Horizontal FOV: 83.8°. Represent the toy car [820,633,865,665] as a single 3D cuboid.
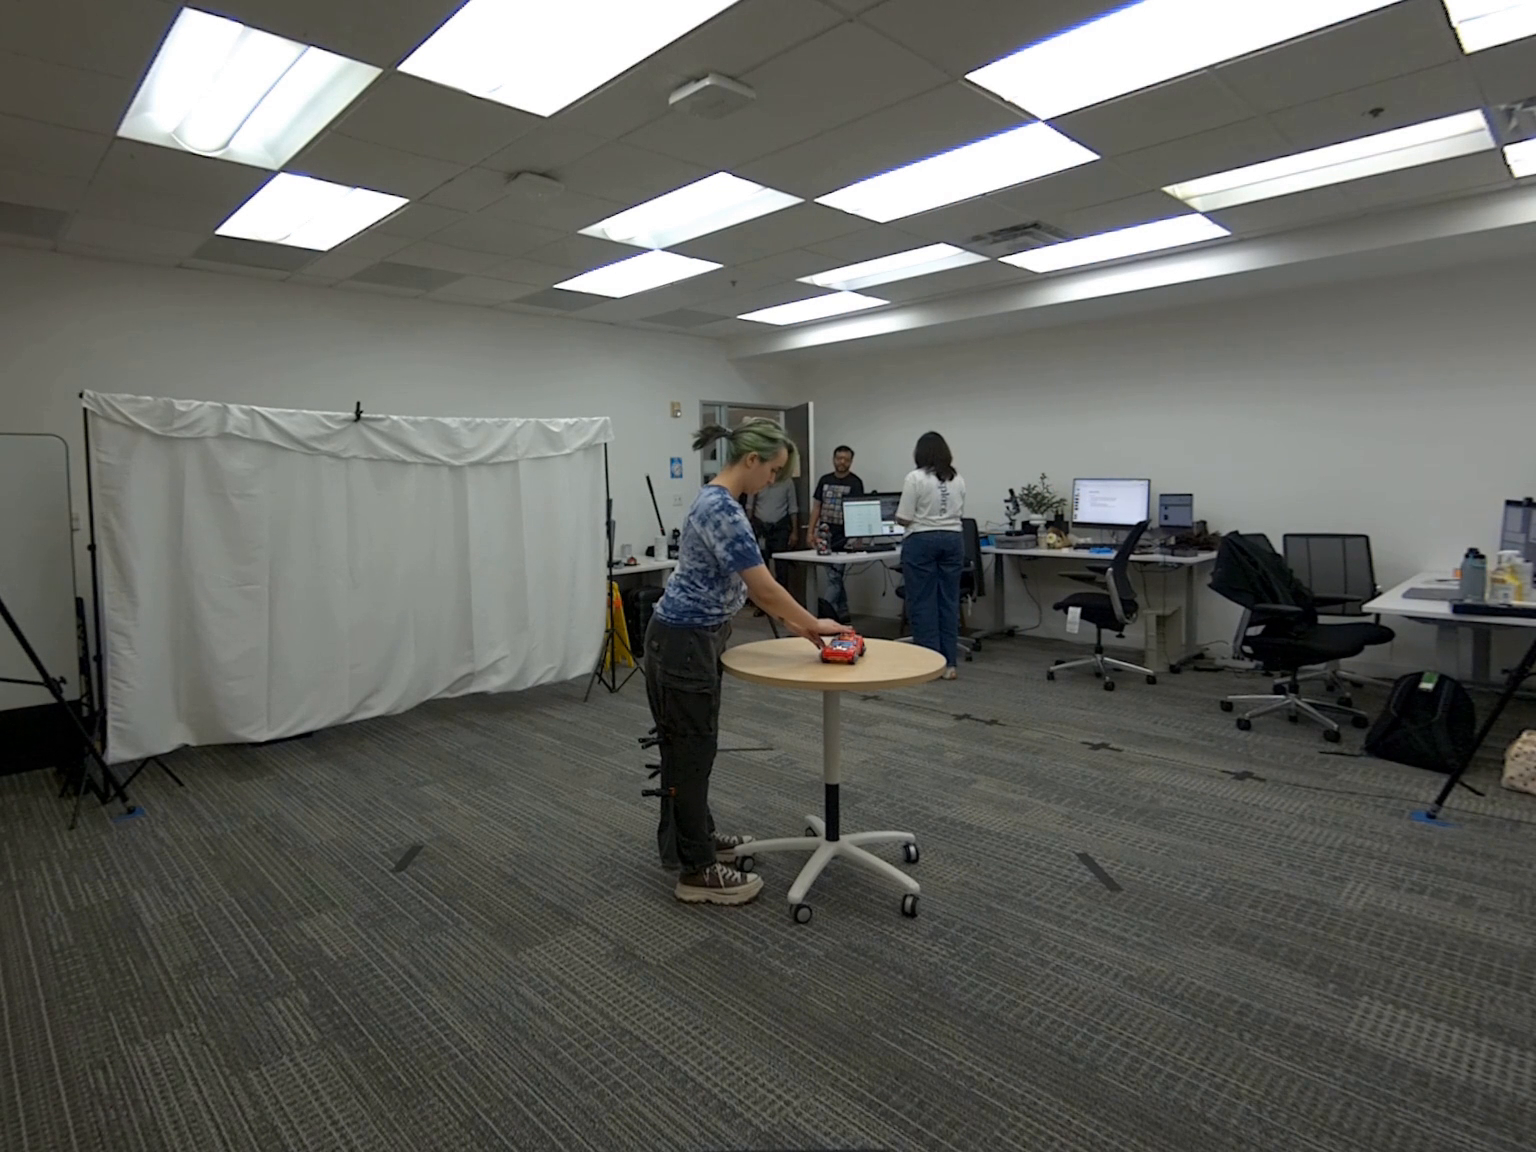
[{"bbox_3d":[0.261,0.248,2.914,0.133,0.082,0.254,2,18,17],"label":"toy car"}]
